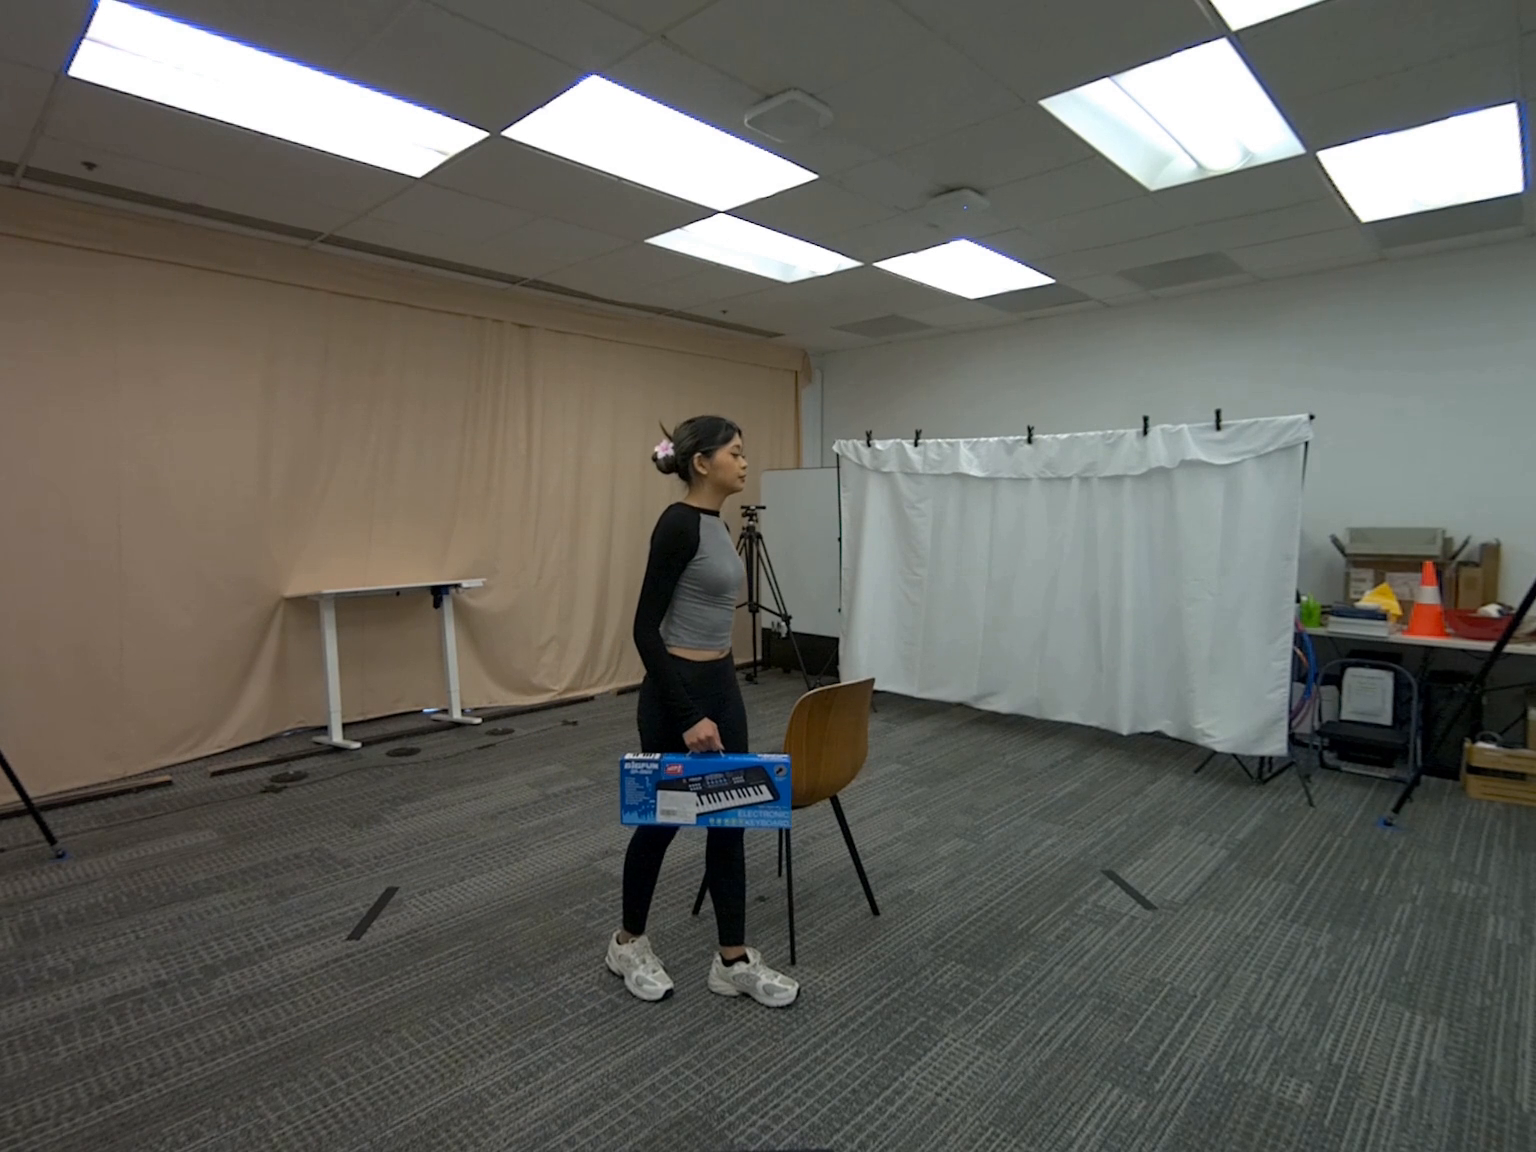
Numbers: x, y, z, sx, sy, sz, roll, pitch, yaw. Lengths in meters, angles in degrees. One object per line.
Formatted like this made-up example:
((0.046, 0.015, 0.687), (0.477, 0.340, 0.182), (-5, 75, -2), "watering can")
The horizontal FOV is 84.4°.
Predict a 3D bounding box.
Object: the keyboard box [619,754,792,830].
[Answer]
((-0.161, 0.544, 2.174), (0.438, 0.175, 0.059), (-1, 3, 4), "keyboard box")
